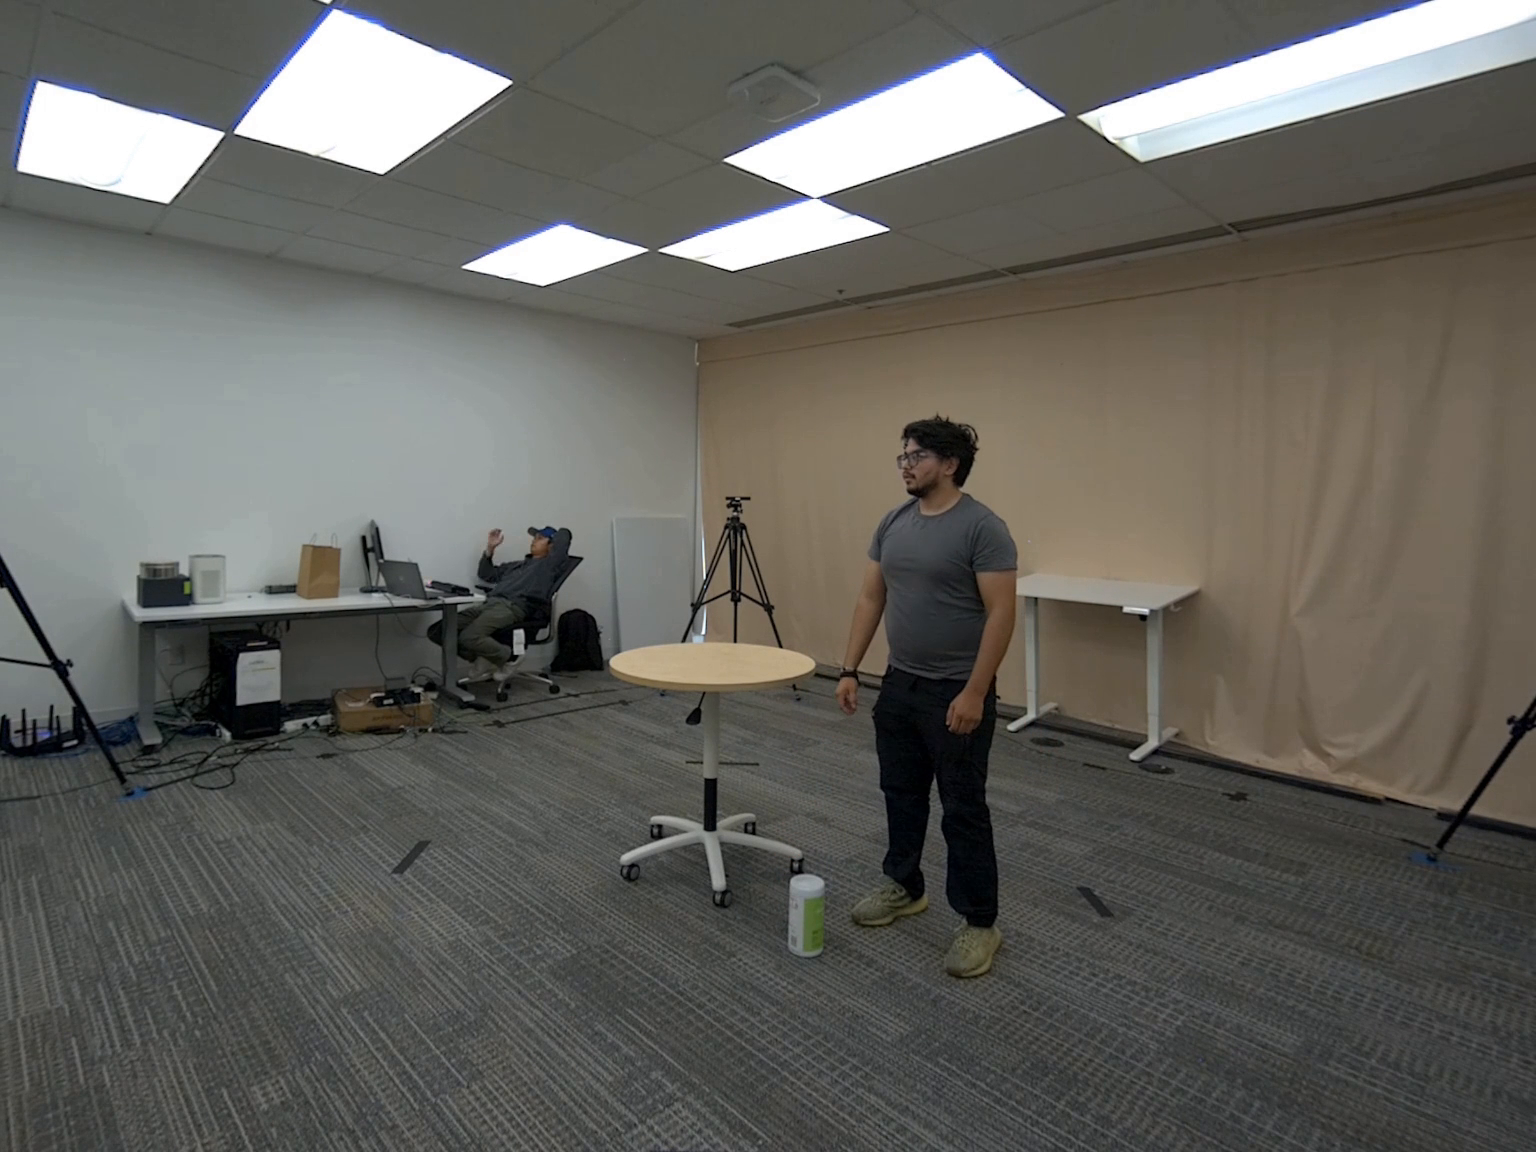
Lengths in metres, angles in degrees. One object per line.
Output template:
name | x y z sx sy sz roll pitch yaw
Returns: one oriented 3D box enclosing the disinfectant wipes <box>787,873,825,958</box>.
disinfectant wipes | 0.118 1.048 2.607 0.118 0.217 0.118 0 3 -1
